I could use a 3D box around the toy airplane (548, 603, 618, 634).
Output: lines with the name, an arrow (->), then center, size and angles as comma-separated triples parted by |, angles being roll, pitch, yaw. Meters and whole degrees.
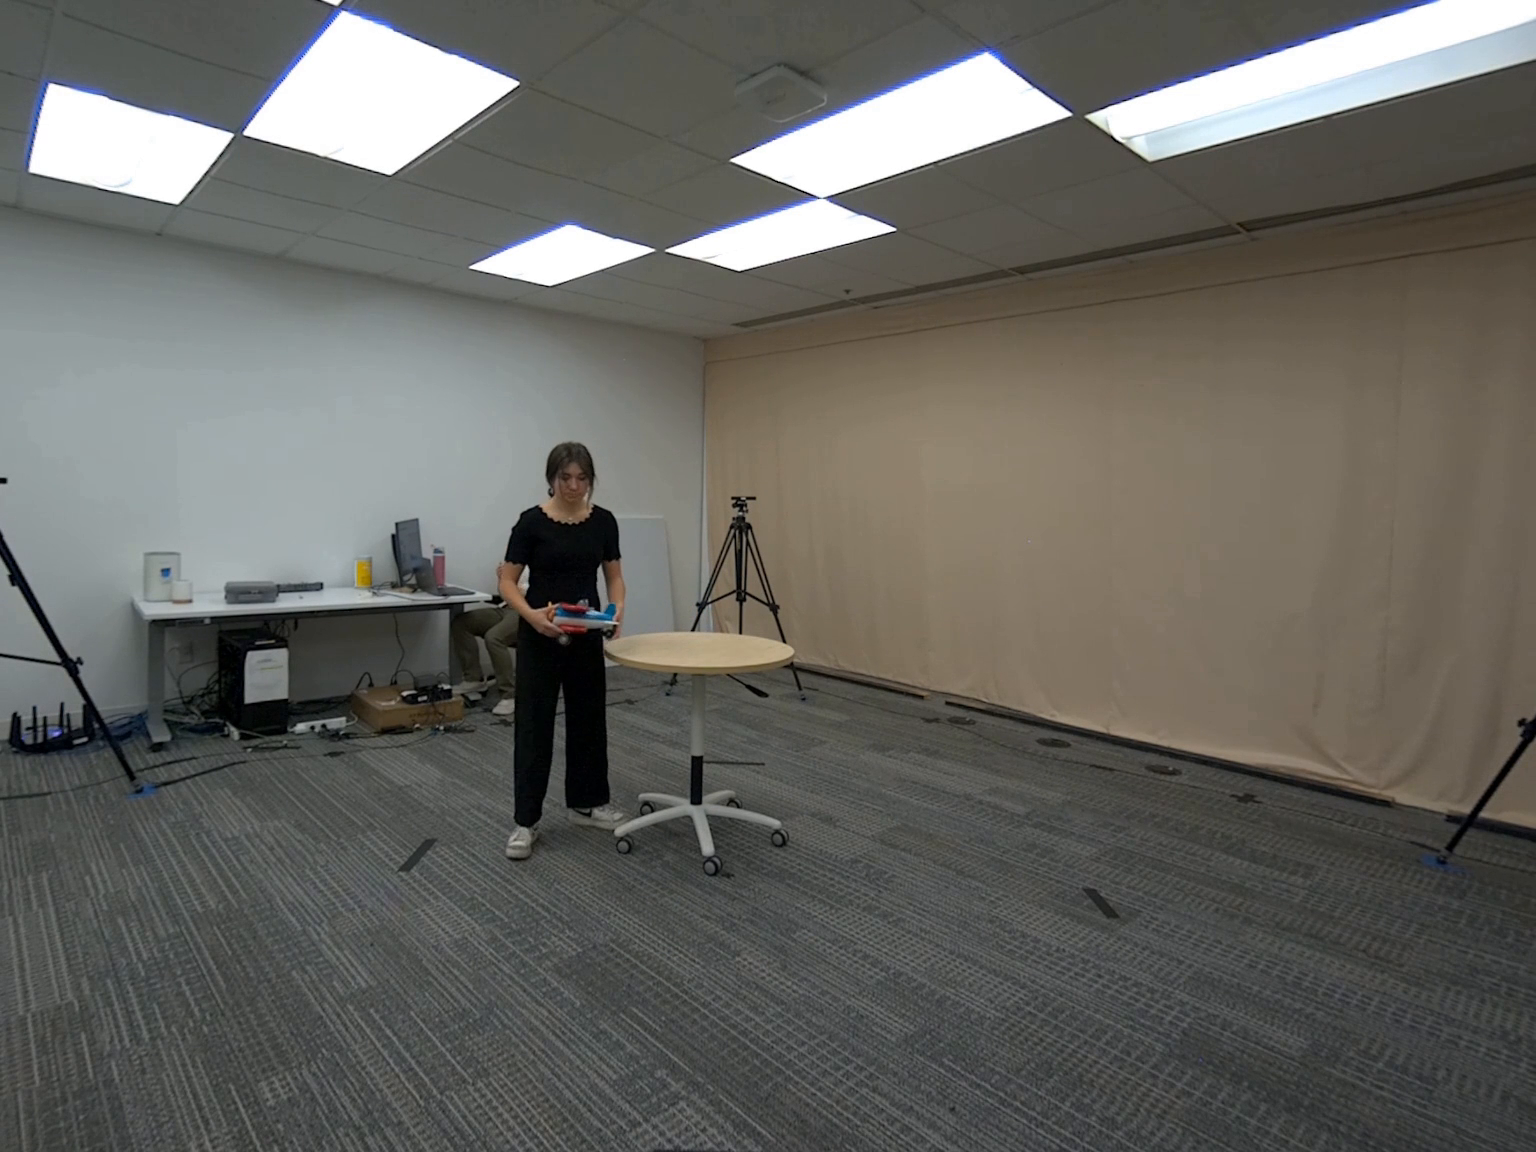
toy airplane -> -0.739, 0.171, 3.197 | 0.256, 0.156, 0.254 | -4, 6, 40
